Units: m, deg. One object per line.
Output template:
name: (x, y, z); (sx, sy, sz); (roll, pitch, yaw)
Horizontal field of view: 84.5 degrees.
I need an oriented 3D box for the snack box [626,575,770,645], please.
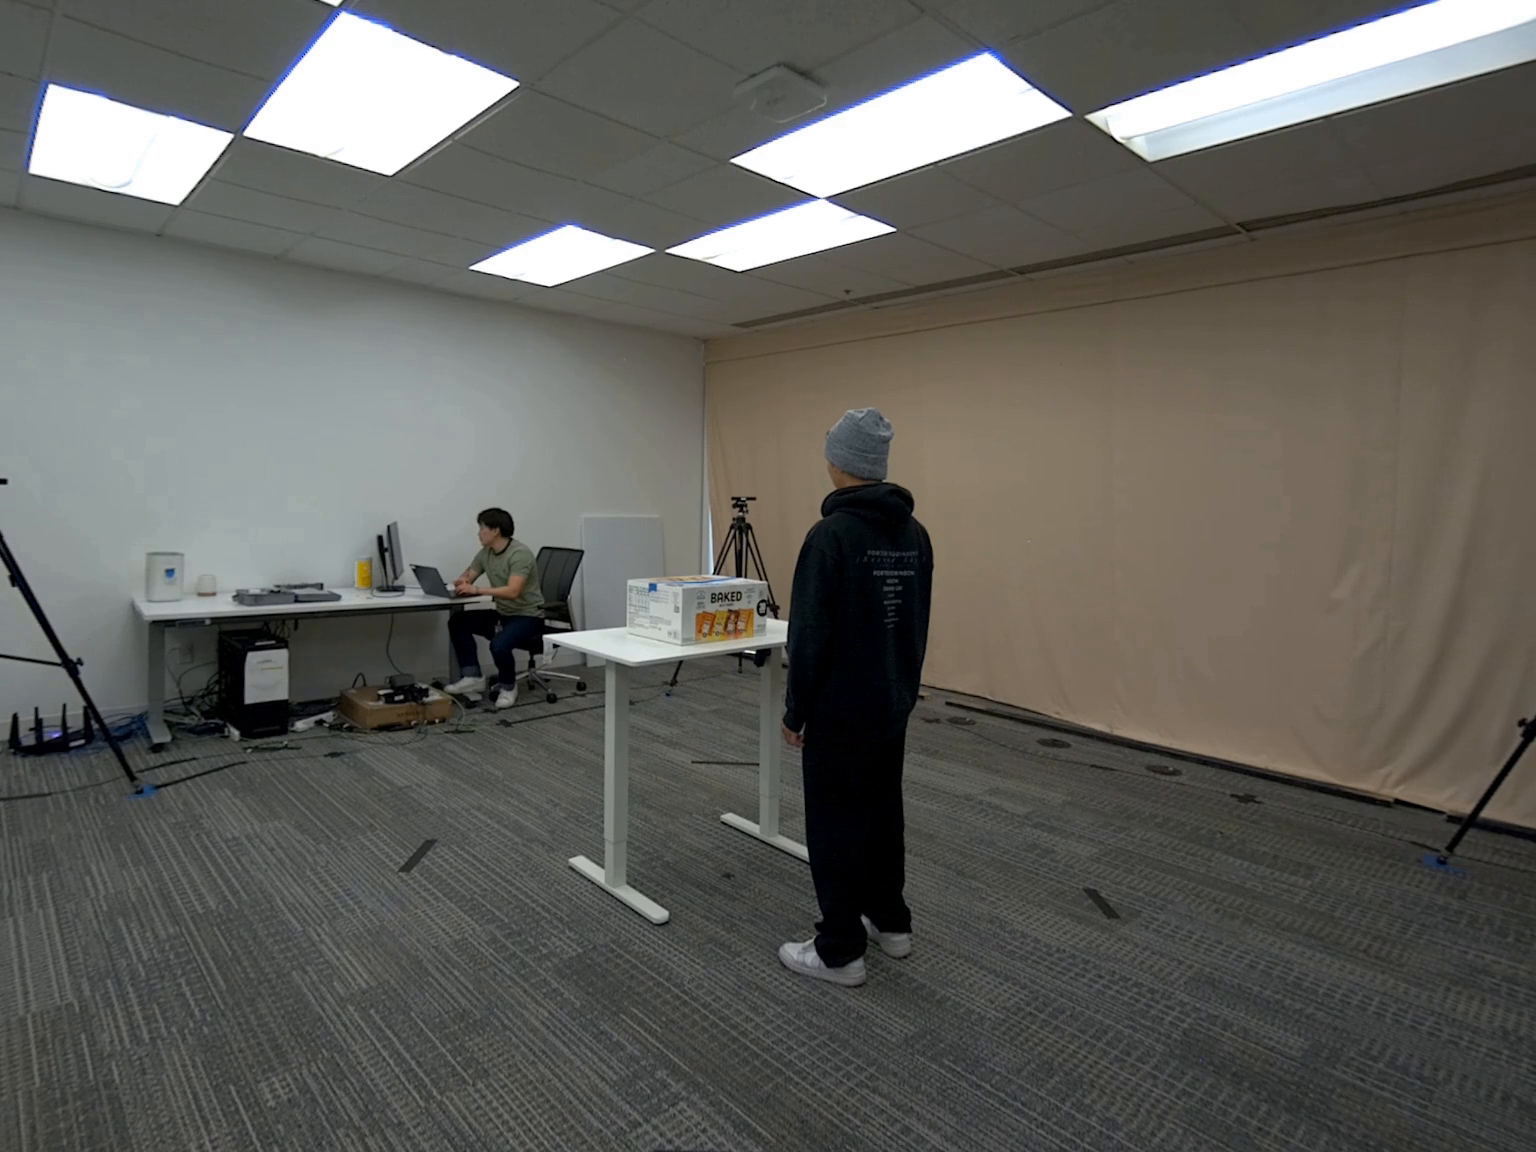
snack box: (-0.269, 0.119, 3.137); (0.396, 0.205, 0.349); (-3, 6, -43)
